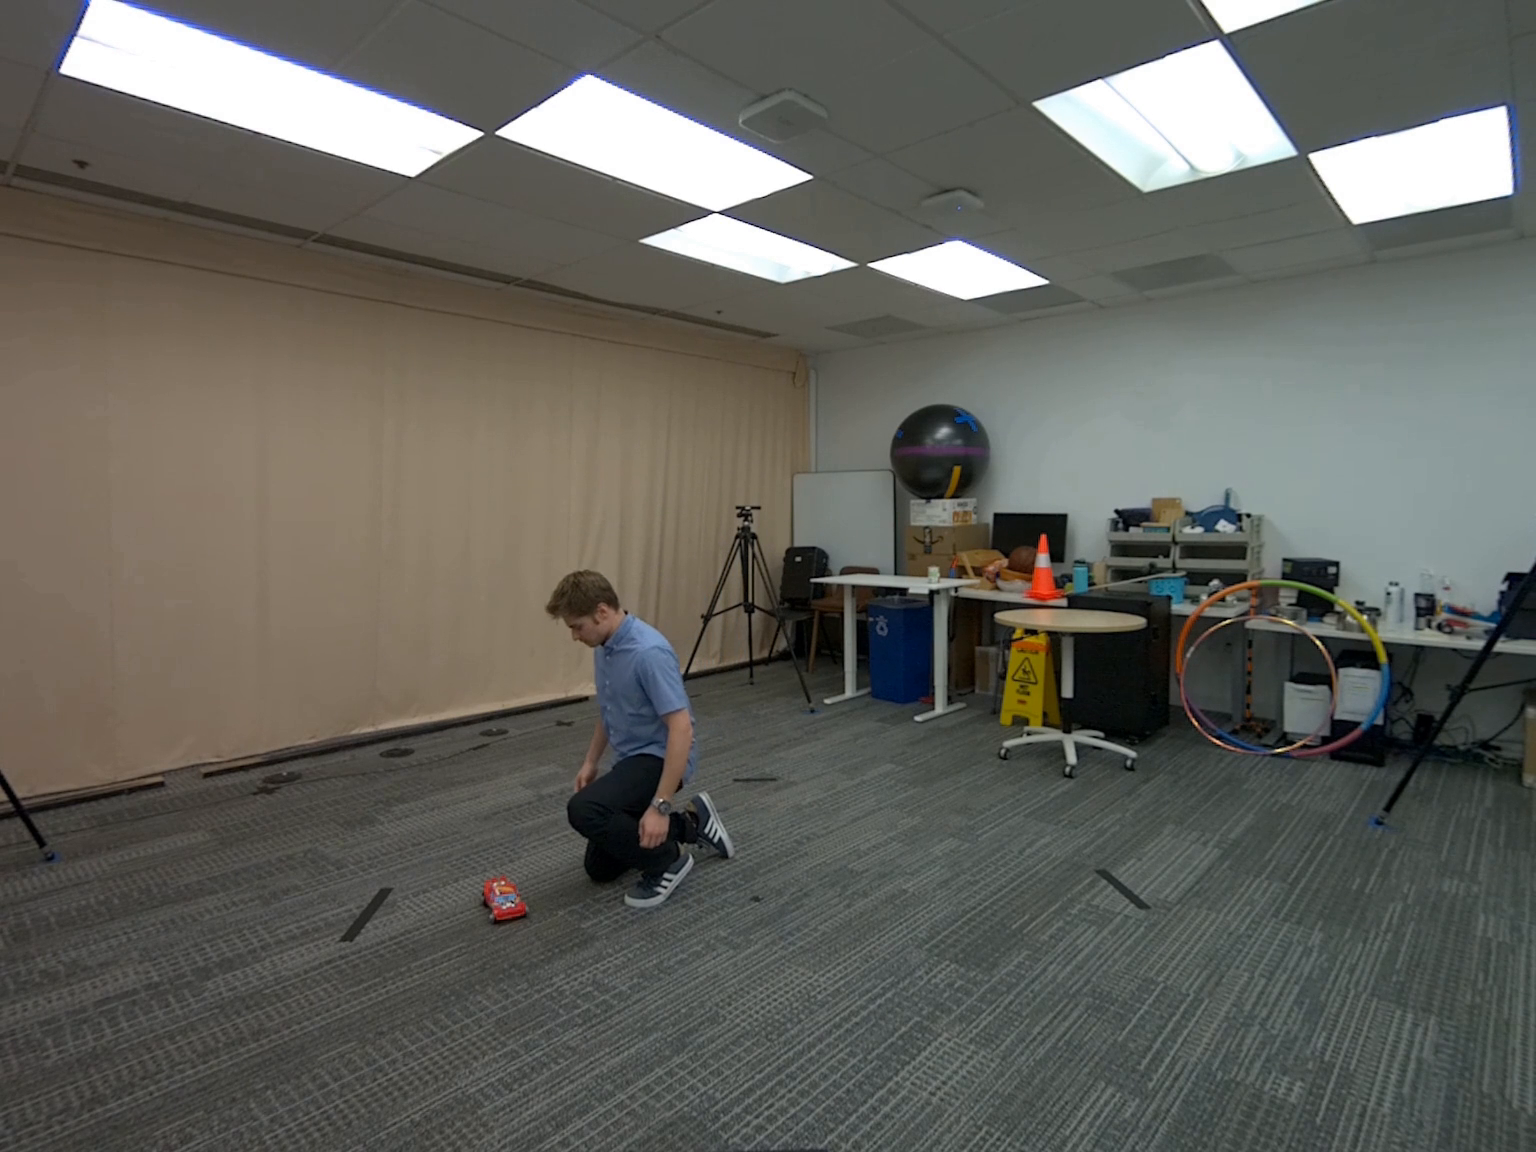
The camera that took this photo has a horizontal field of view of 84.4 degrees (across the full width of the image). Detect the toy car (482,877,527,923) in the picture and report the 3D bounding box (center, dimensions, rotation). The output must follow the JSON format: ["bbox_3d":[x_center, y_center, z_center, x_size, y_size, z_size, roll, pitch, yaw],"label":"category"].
[{"bbox_3d":[-0.920,1.128,2.923,0.127,0.082,0.263,-4,14,-28],"label":"toy car"}]
